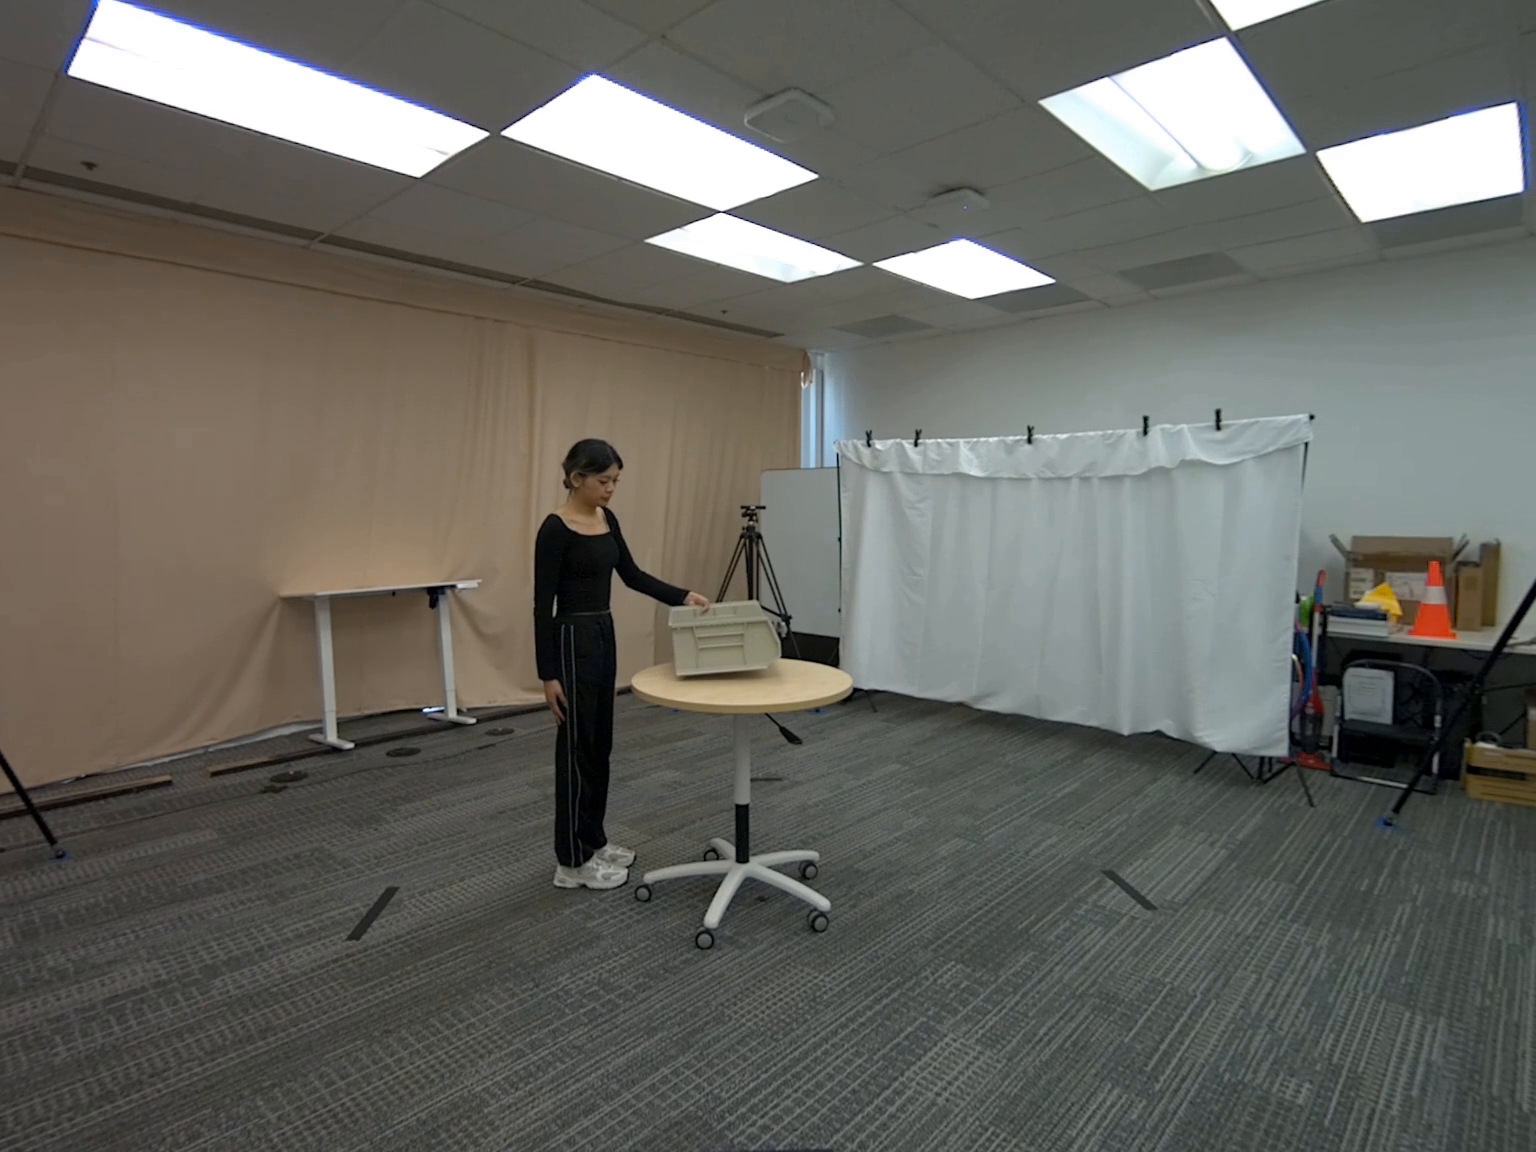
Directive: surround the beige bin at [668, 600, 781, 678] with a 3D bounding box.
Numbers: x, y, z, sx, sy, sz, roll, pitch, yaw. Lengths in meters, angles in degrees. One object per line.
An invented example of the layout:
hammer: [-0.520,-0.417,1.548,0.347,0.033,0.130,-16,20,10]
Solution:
beige bin: [-0.158,0.219,3.083,0.376,0.188,0.426,-6,7,-5]
